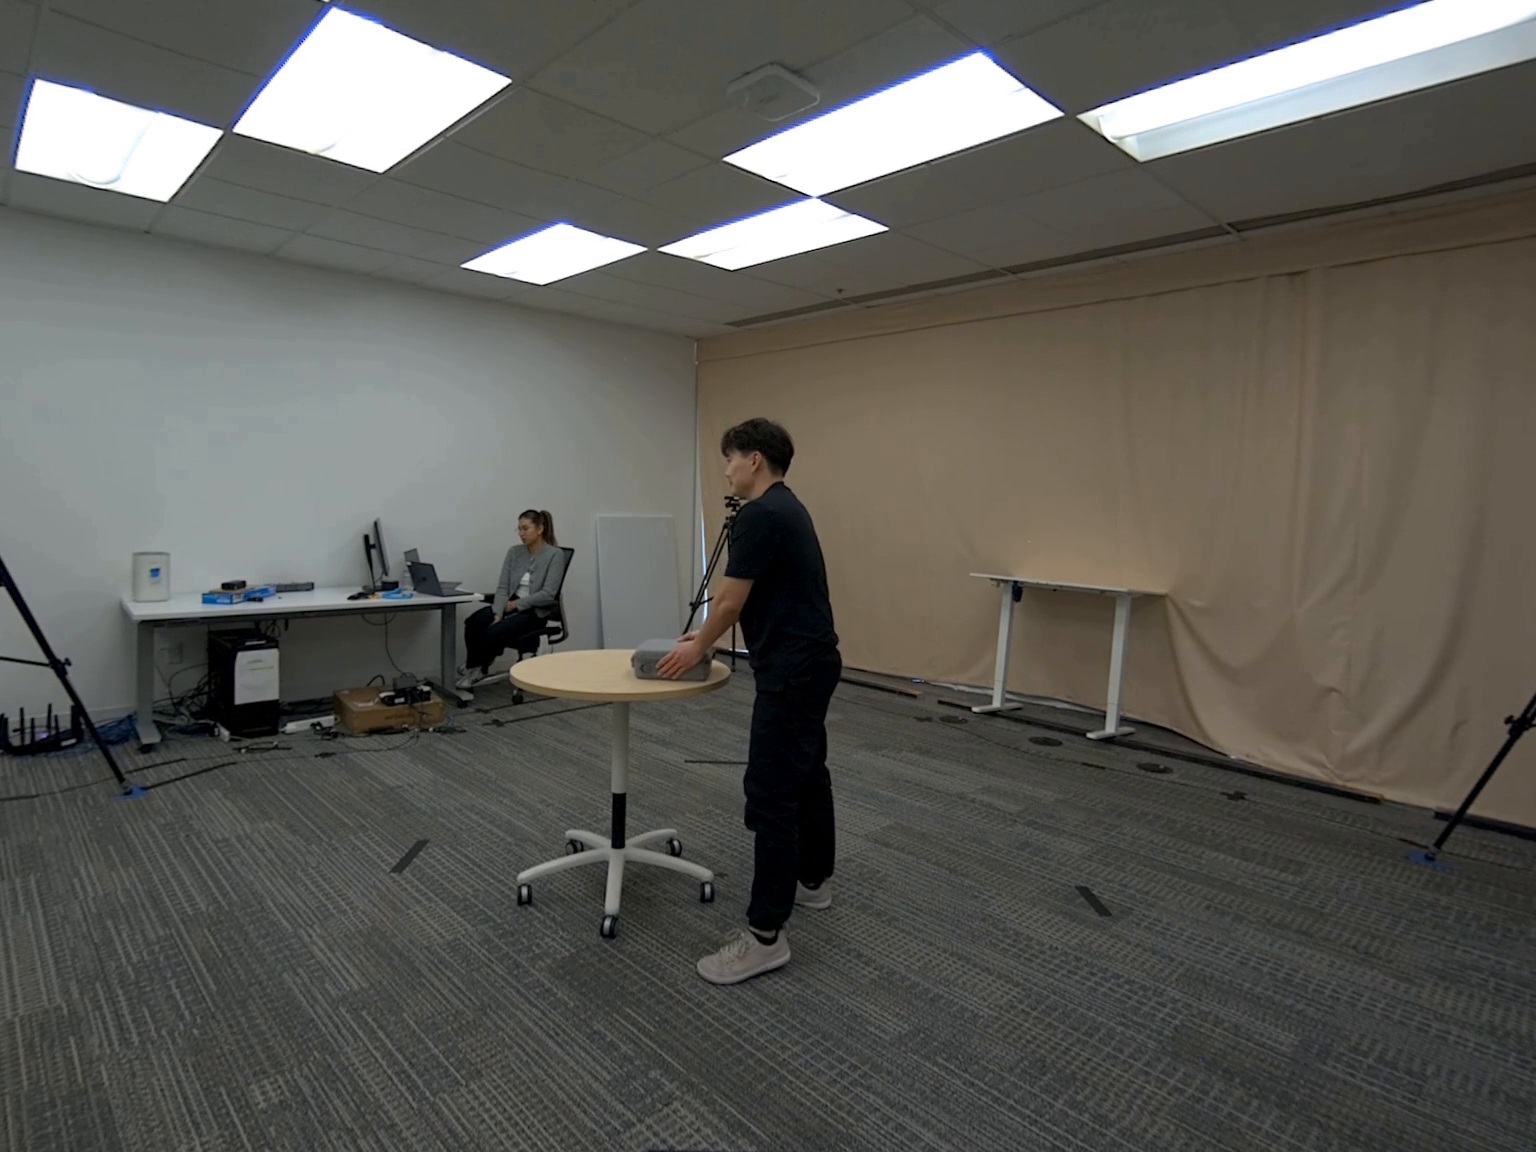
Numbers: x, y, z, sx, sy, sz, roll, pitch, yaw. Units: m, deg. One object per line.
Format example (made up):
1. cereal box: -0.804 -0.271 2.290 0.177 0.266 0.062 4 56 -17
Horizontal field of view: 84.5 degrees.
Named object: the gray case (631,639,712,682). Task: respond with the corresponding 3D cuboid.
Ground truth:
1. gray case: -0.334 0.289 2.899 0.261 0.104 0.257 2 6 3
